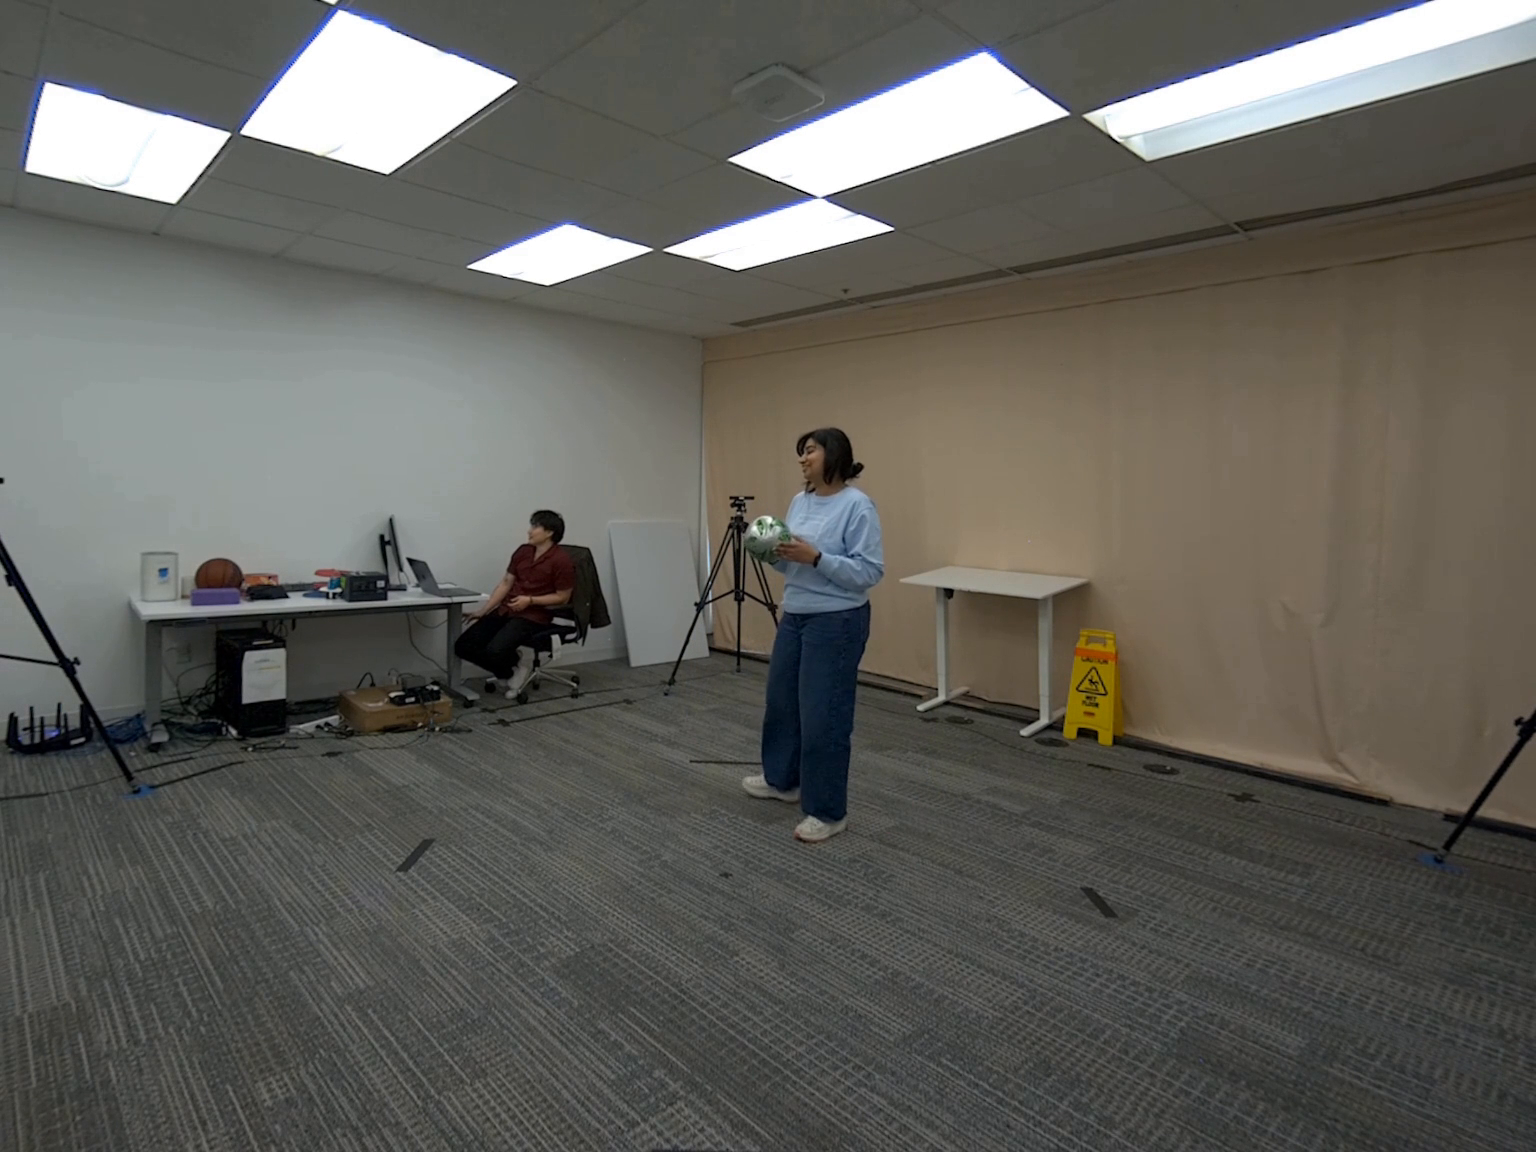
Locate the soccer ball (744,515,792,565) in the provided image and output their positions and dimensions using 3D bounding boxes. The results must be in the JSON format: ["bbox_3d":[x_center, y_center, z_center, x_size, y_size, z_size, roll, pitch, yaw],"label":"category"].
[{"bbox_3d":[-0.010,-0.146,3.363,0.187,0.187,0.188,1,4,-1],"label":"soccer ball"}]
